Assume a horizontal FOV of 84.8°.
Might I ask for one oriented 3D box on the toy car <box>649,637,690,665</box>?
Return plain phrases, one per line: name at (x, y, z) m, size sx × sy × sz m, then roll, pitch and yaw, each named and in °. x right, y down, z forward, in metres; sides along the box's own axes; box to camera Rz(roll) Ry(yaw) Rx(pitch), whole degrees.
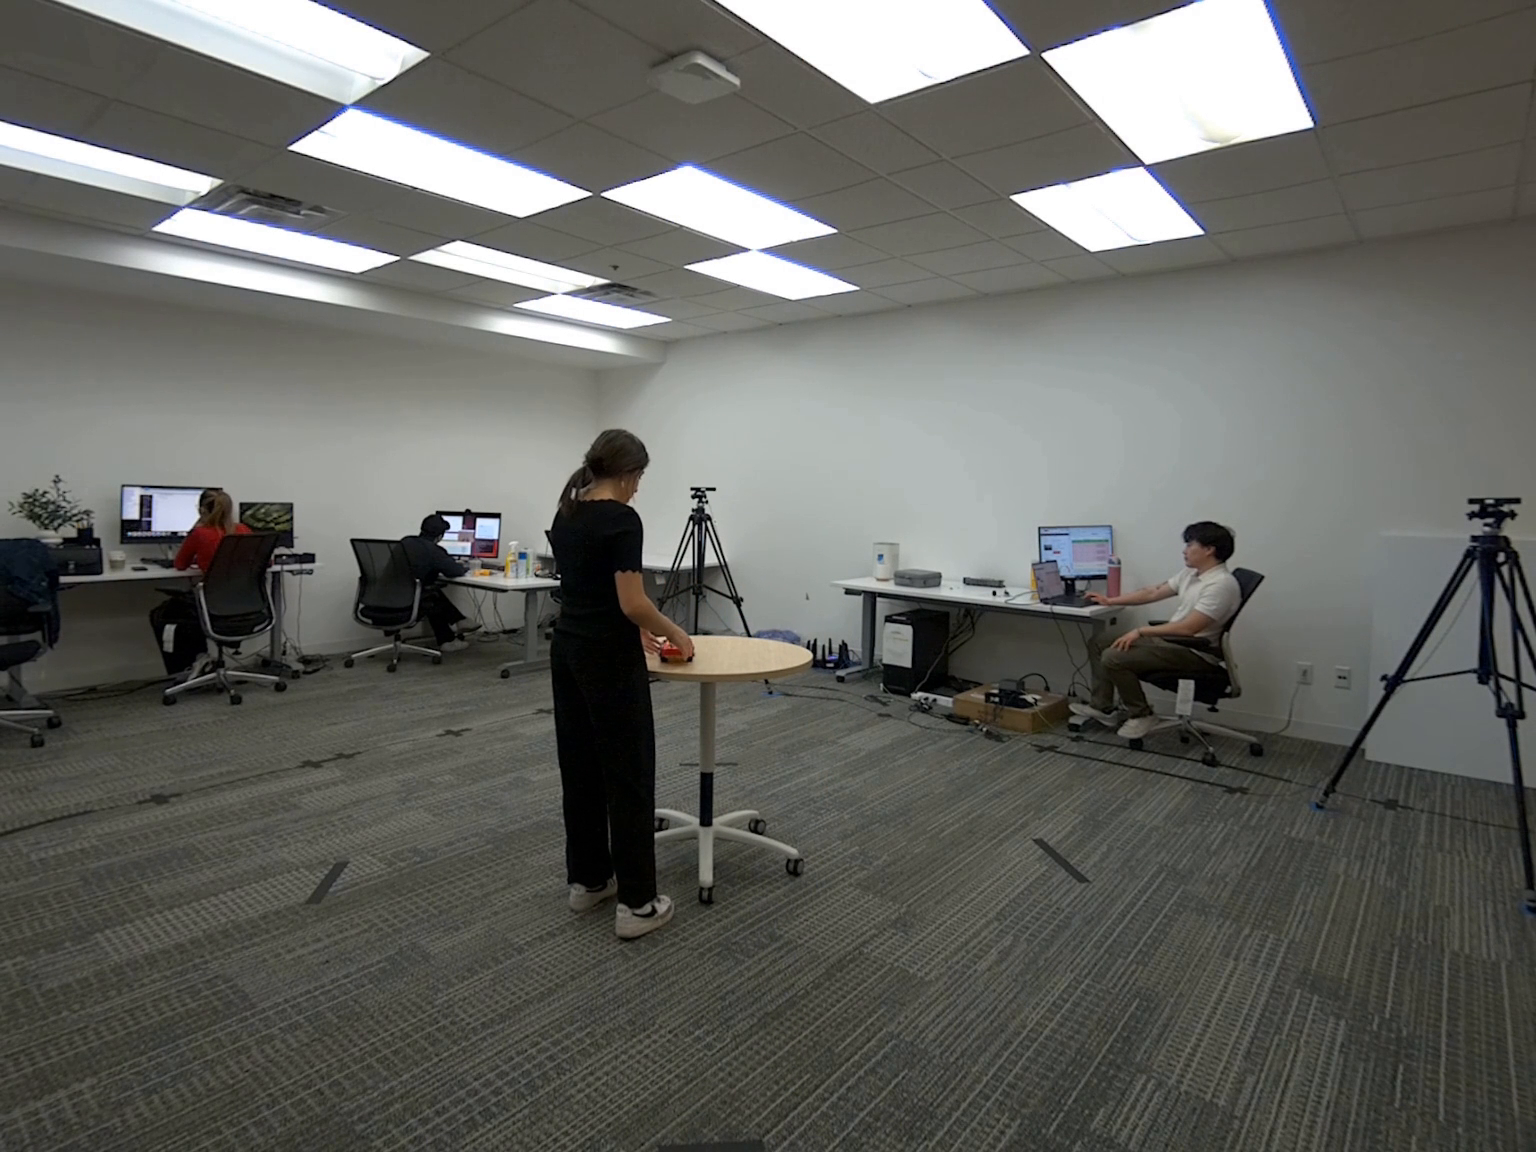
toy car at (-0.336, 0.261, 3.007) m, size 0.130 × 0.084 × 0.253 m, roll 1°, pitch -7°, yaw -5°
